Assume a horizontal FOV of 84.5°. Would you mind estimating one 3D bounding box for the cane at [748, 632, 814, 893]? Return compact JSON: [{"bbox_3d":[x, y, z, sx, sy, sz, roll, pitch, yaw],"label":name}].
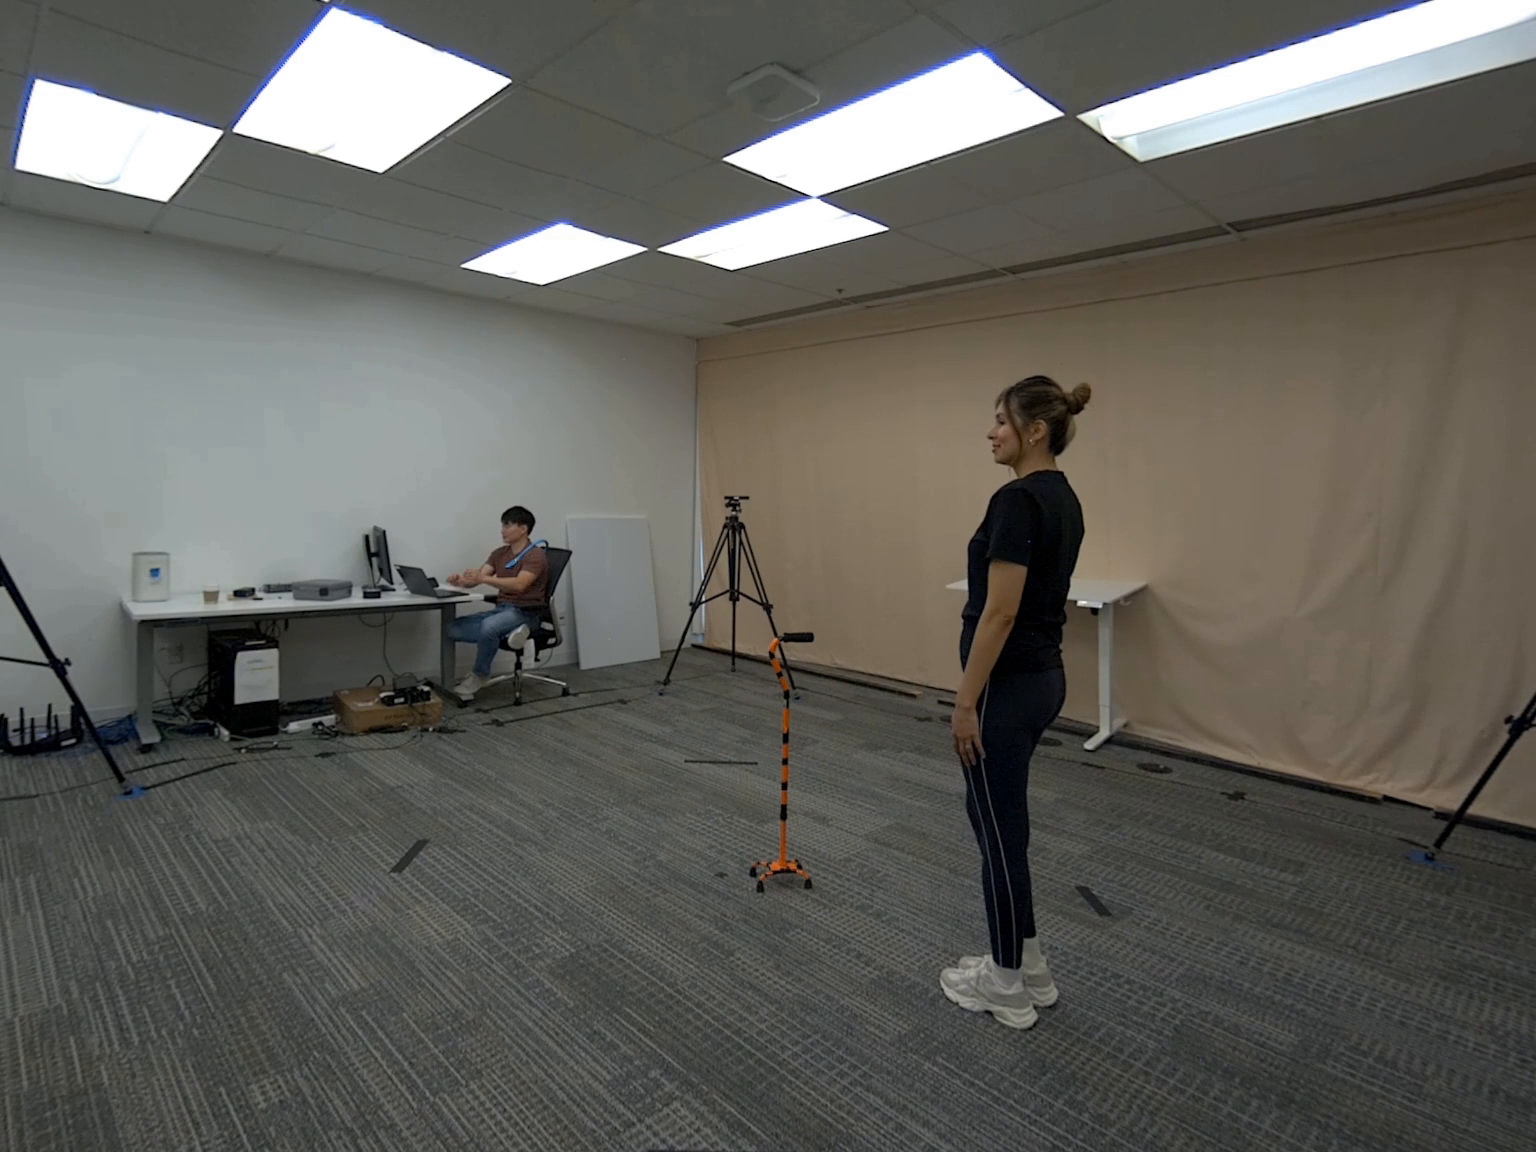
[{"bbox_3d":[0.052,0.662,3.032,0.204,0.906,0.153,1,3,-13],"label":"cane"}]
